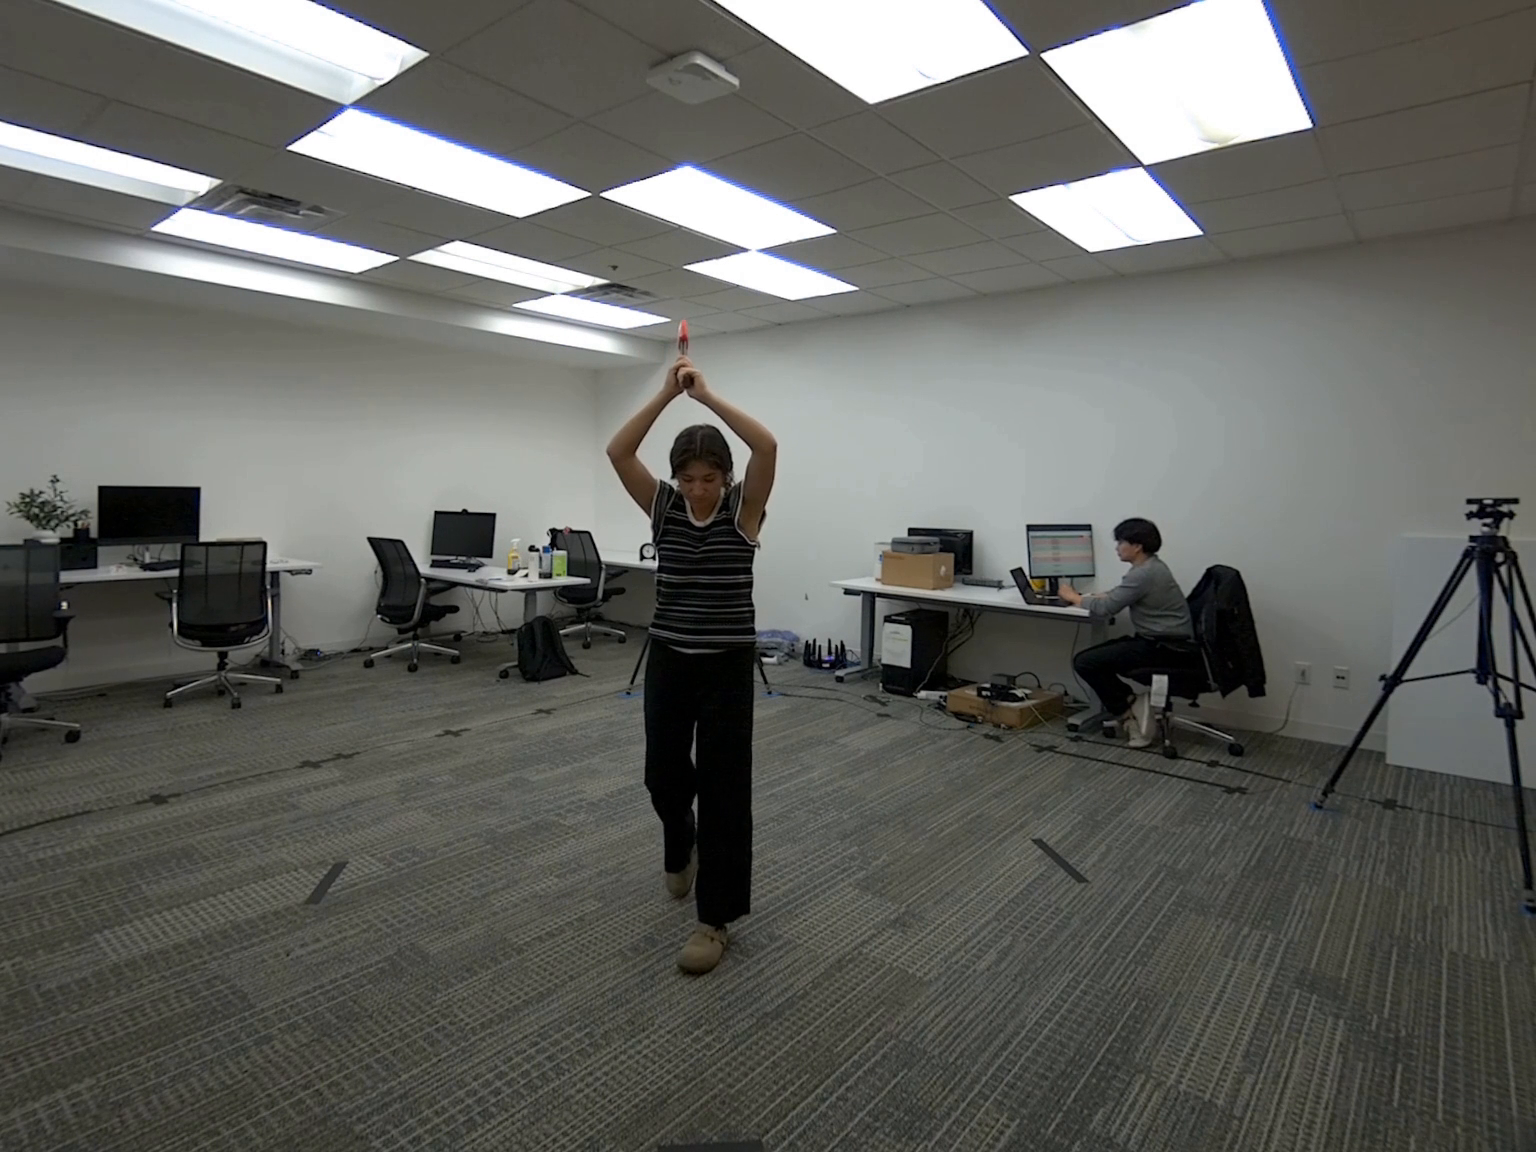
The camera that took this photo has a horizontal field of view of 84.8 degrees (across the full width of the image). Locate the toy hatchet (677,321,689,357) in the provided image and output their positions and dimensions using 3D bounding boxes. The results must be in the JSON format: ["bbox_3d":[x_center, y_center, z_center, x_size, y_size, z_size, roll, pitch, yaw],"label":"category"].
[{"bbox_3d":[-0.251,-0.653,2.448,0.029,0.128,0.279,1,31,-11],"label":"toy hatchet"}]
